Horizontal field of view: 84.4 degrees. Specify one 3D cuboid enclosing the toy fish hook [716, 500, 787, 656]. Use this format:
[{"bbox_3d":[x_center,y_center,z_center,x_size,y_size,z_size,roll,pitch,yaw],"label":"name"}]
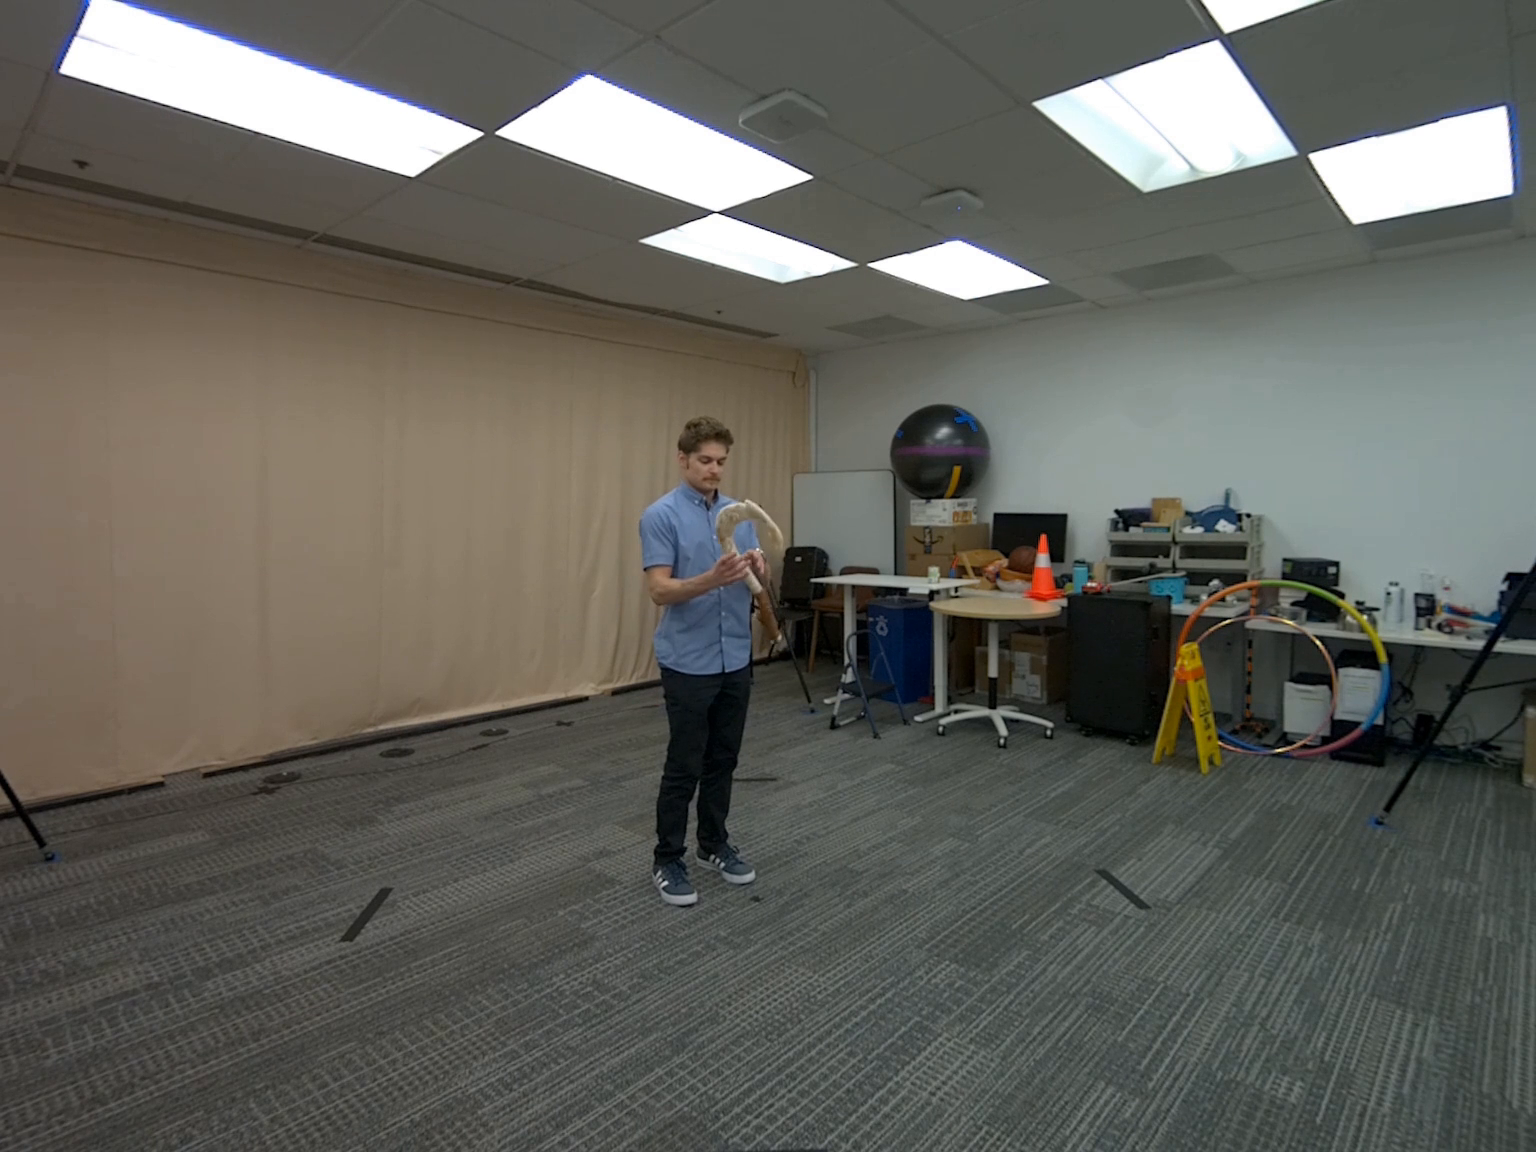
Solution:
[{"bbox_3d":[-0.002,0.020,2.749,0.230,0.499,0.048,-12,19,34],"label":"toy fish hook"}]
